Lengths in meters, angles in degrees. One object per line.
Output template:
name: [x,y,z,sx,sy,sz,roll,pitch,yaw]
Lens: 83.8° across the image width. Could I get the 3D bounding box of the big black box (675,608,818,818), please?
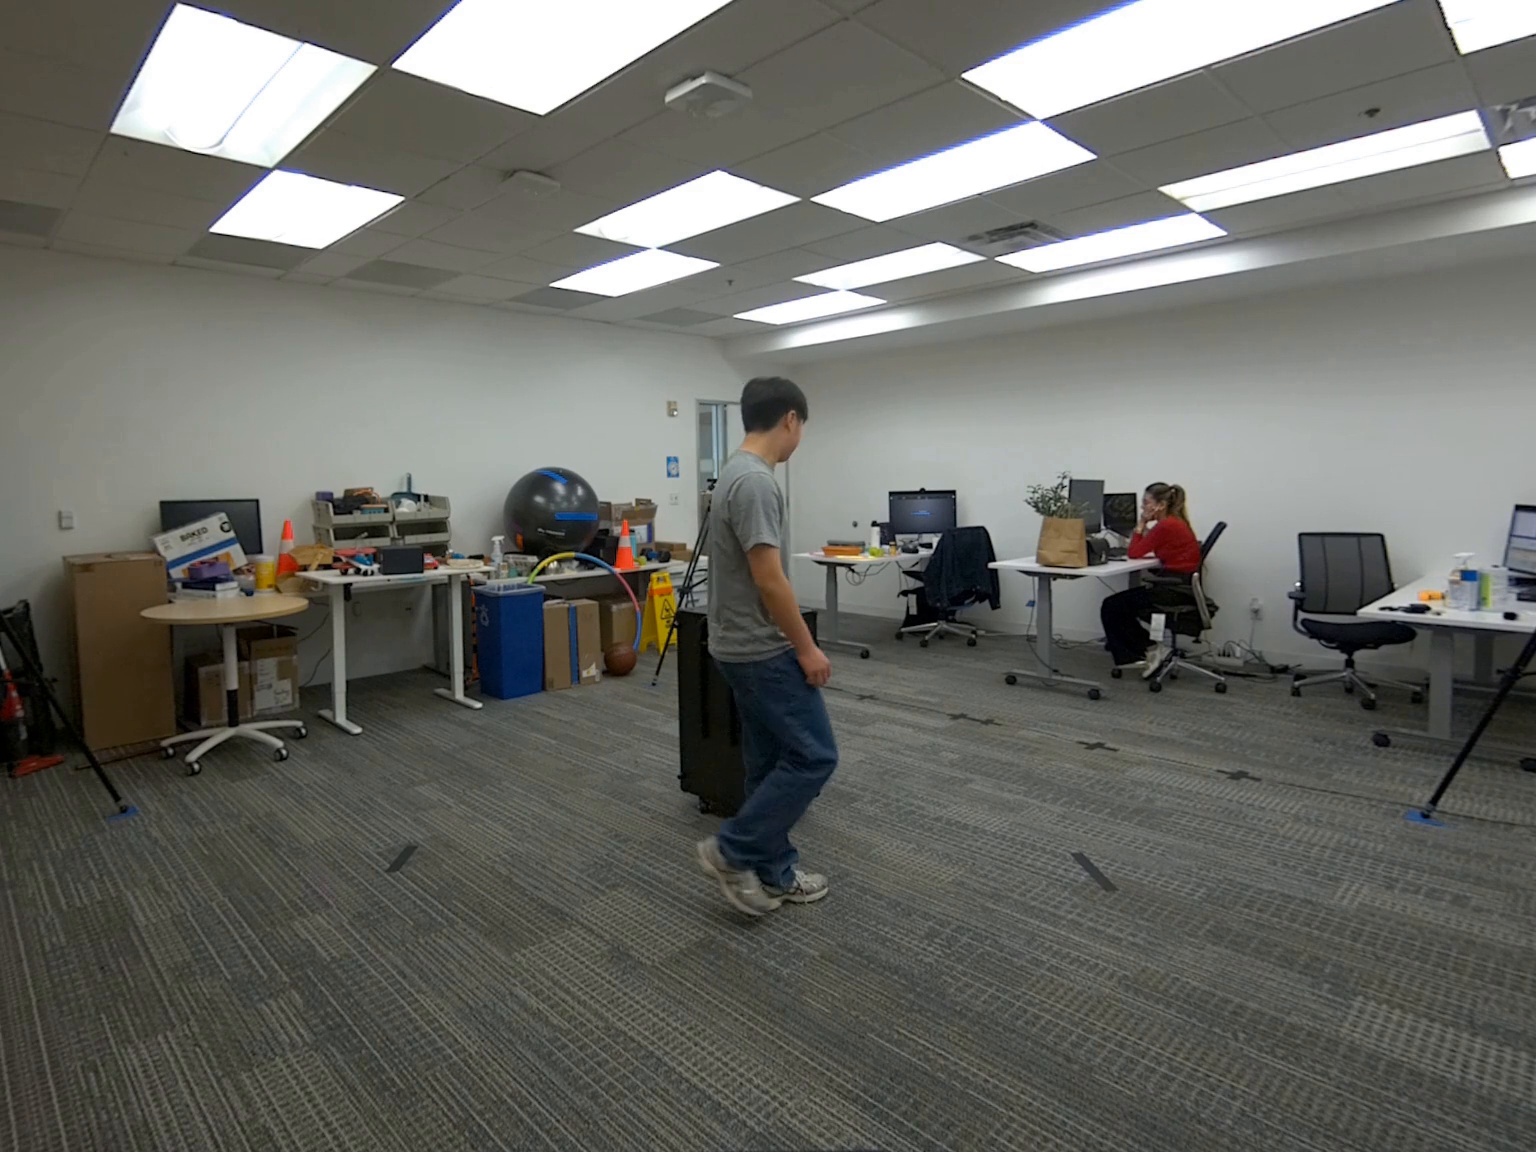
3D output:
big black box: [-0.090,0.568,3.589,0.537,0.858,0.386,4,7,43]
